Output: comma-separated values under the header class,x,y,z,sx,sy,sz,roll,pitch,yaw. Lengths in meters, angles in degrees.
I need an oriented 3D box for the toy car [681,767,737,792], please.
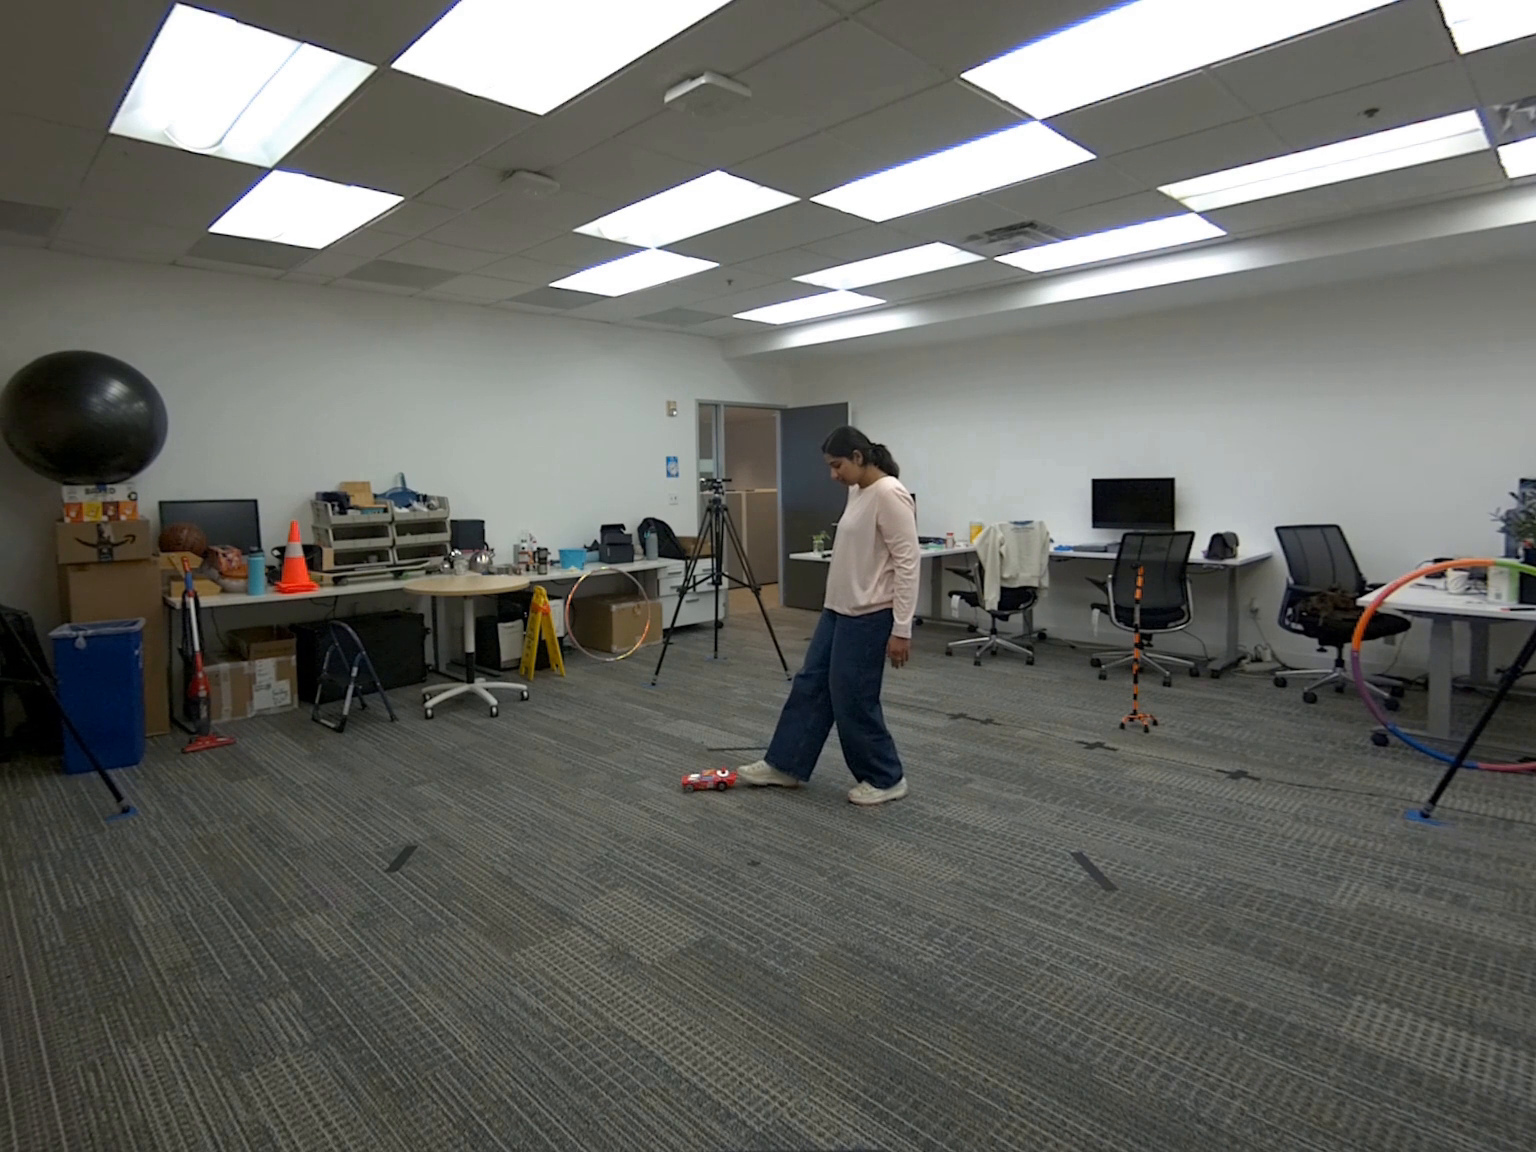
class,x,y,z,sx,sy,sz,roll,pitch,yaw
toy car,-0.256,0.928,3.888,0.255,0.083,0.131,-13,6,1
